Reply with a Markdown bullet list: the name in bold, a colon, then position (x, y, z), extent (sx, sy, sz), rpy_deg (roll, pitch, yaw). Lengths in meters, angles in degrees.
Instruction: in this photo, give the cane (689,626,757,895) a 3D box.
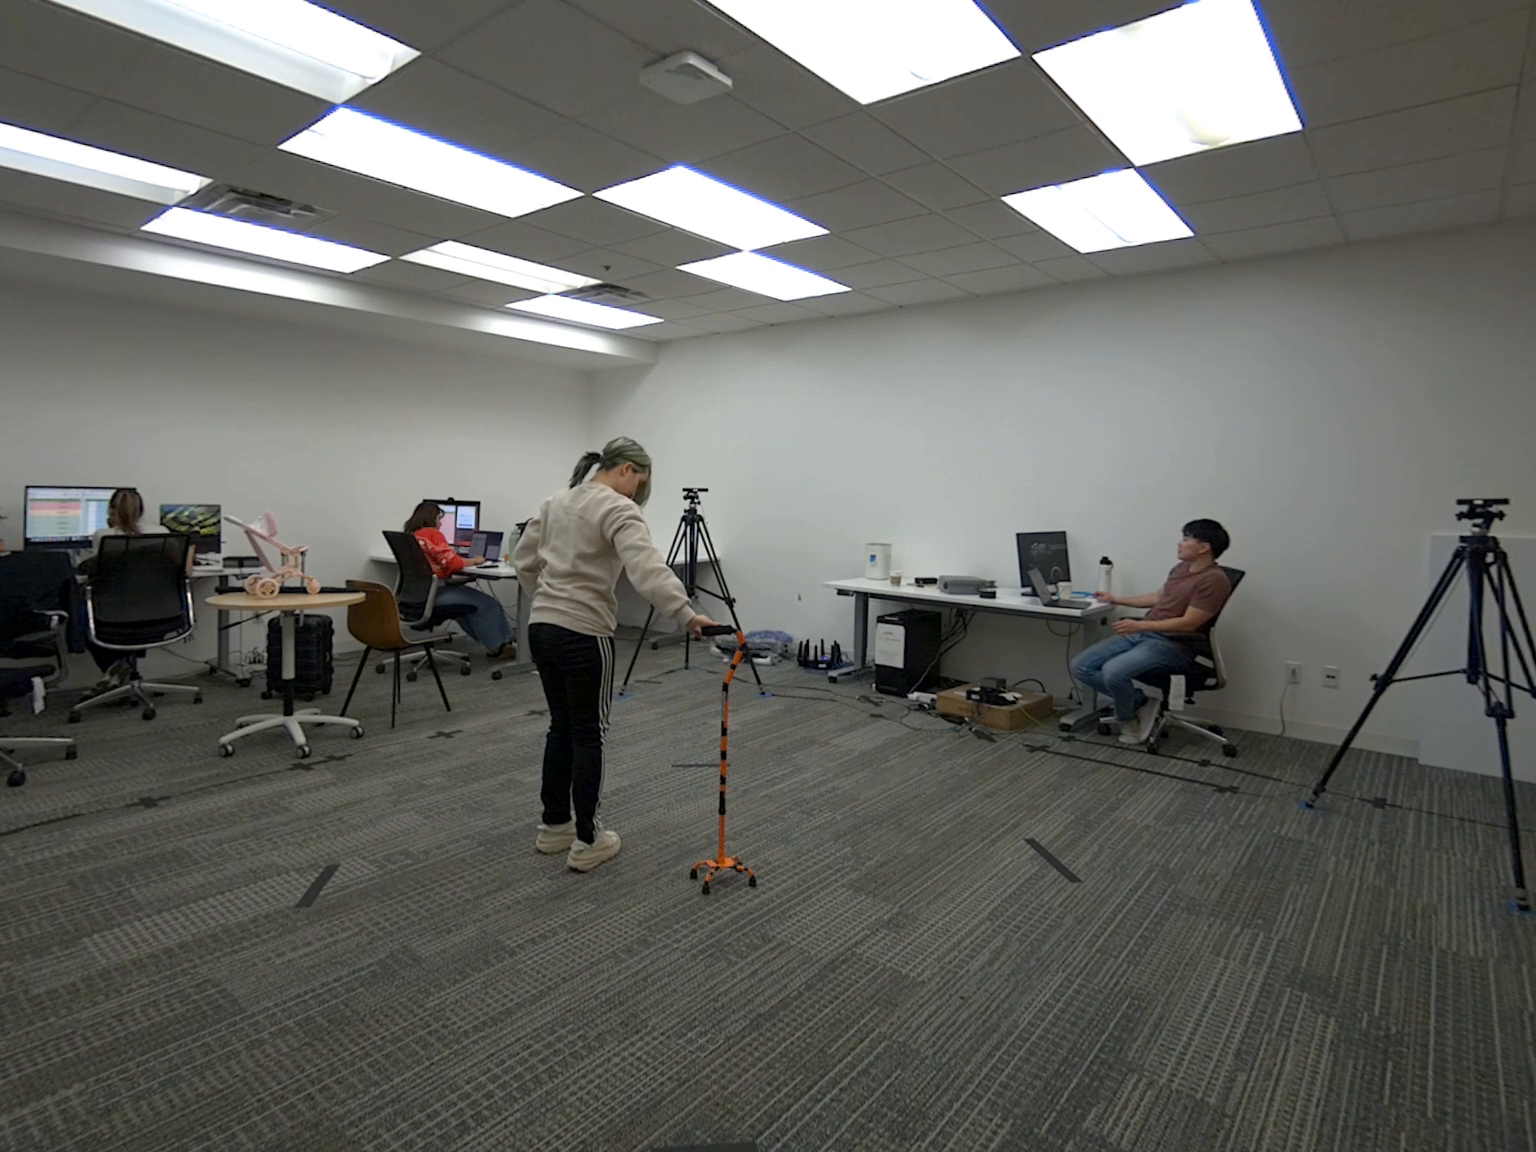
- **cane**: position (-0.158, 0.632, 2.988), extent (0.202, 0.905, 0.155), rpy_deg (0, 3, -23)
